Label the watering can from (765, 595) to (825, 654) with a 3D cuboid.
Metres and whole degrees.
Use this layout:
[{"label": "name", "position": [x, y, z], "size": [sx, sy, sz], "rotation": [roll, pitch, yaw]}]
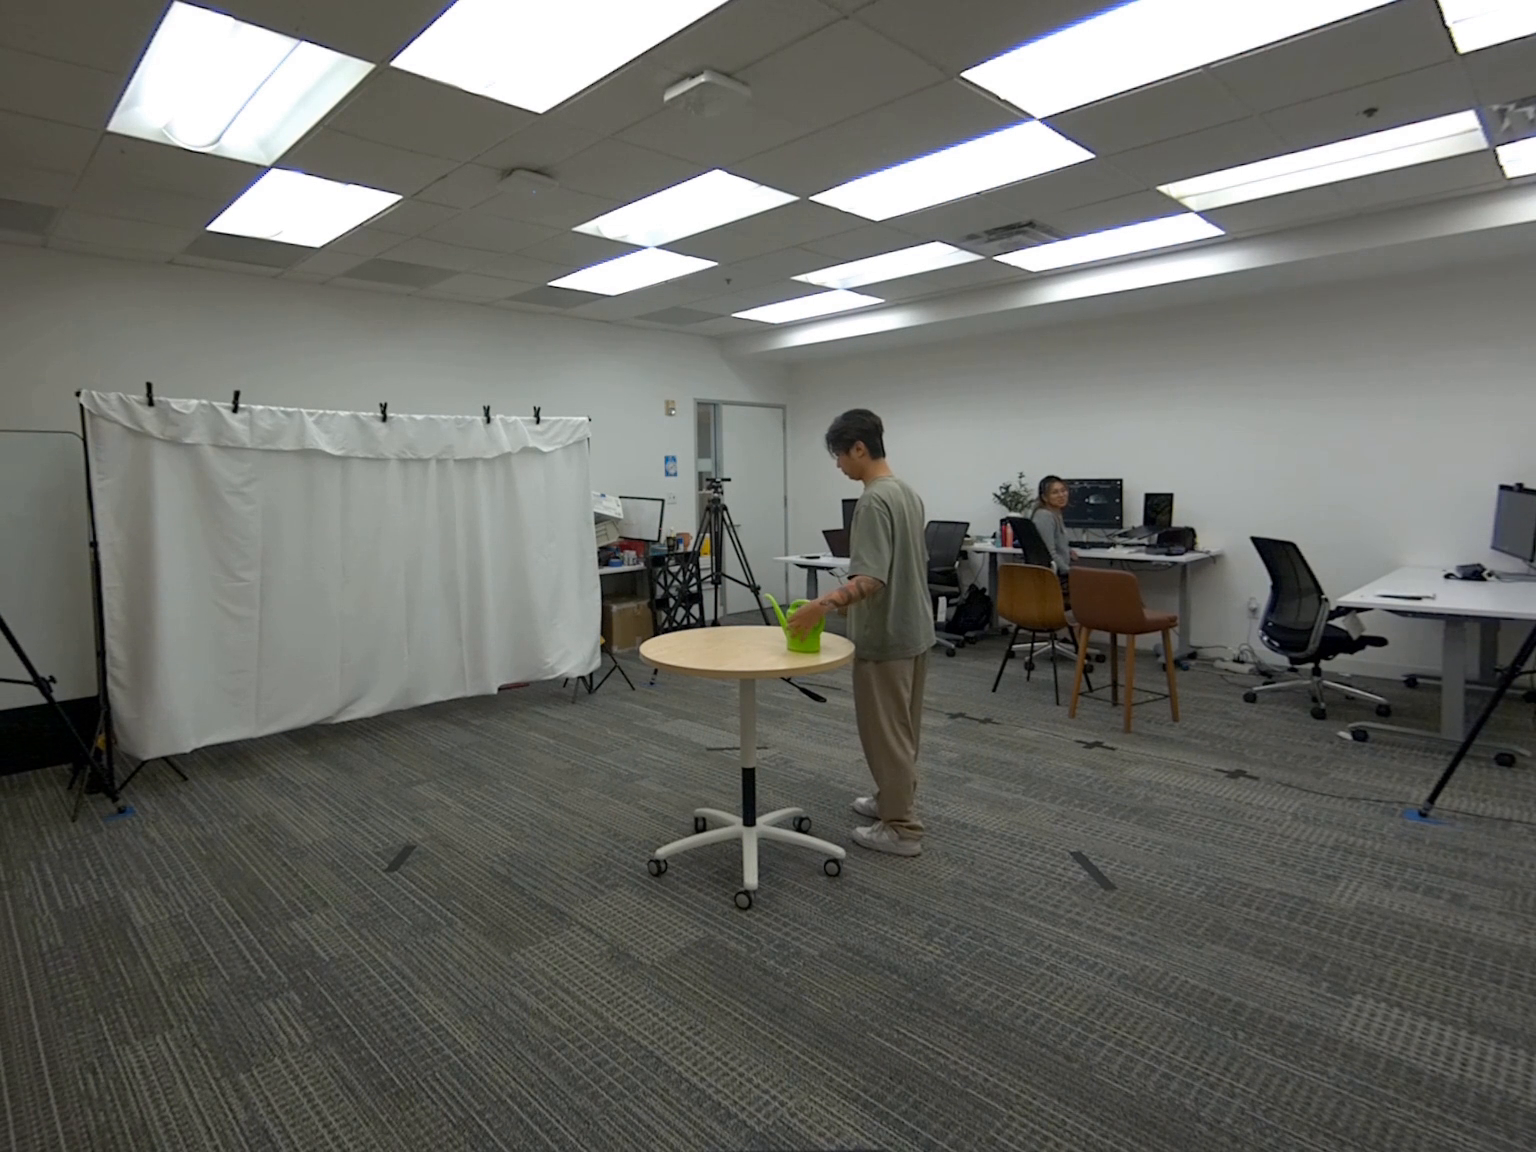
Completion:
[{"label": "watering can", "position": [0.110, 0.166, 3.009], "size": [0.096, 0.176, 0.286], "rotation": [0, 7, -29]}]
